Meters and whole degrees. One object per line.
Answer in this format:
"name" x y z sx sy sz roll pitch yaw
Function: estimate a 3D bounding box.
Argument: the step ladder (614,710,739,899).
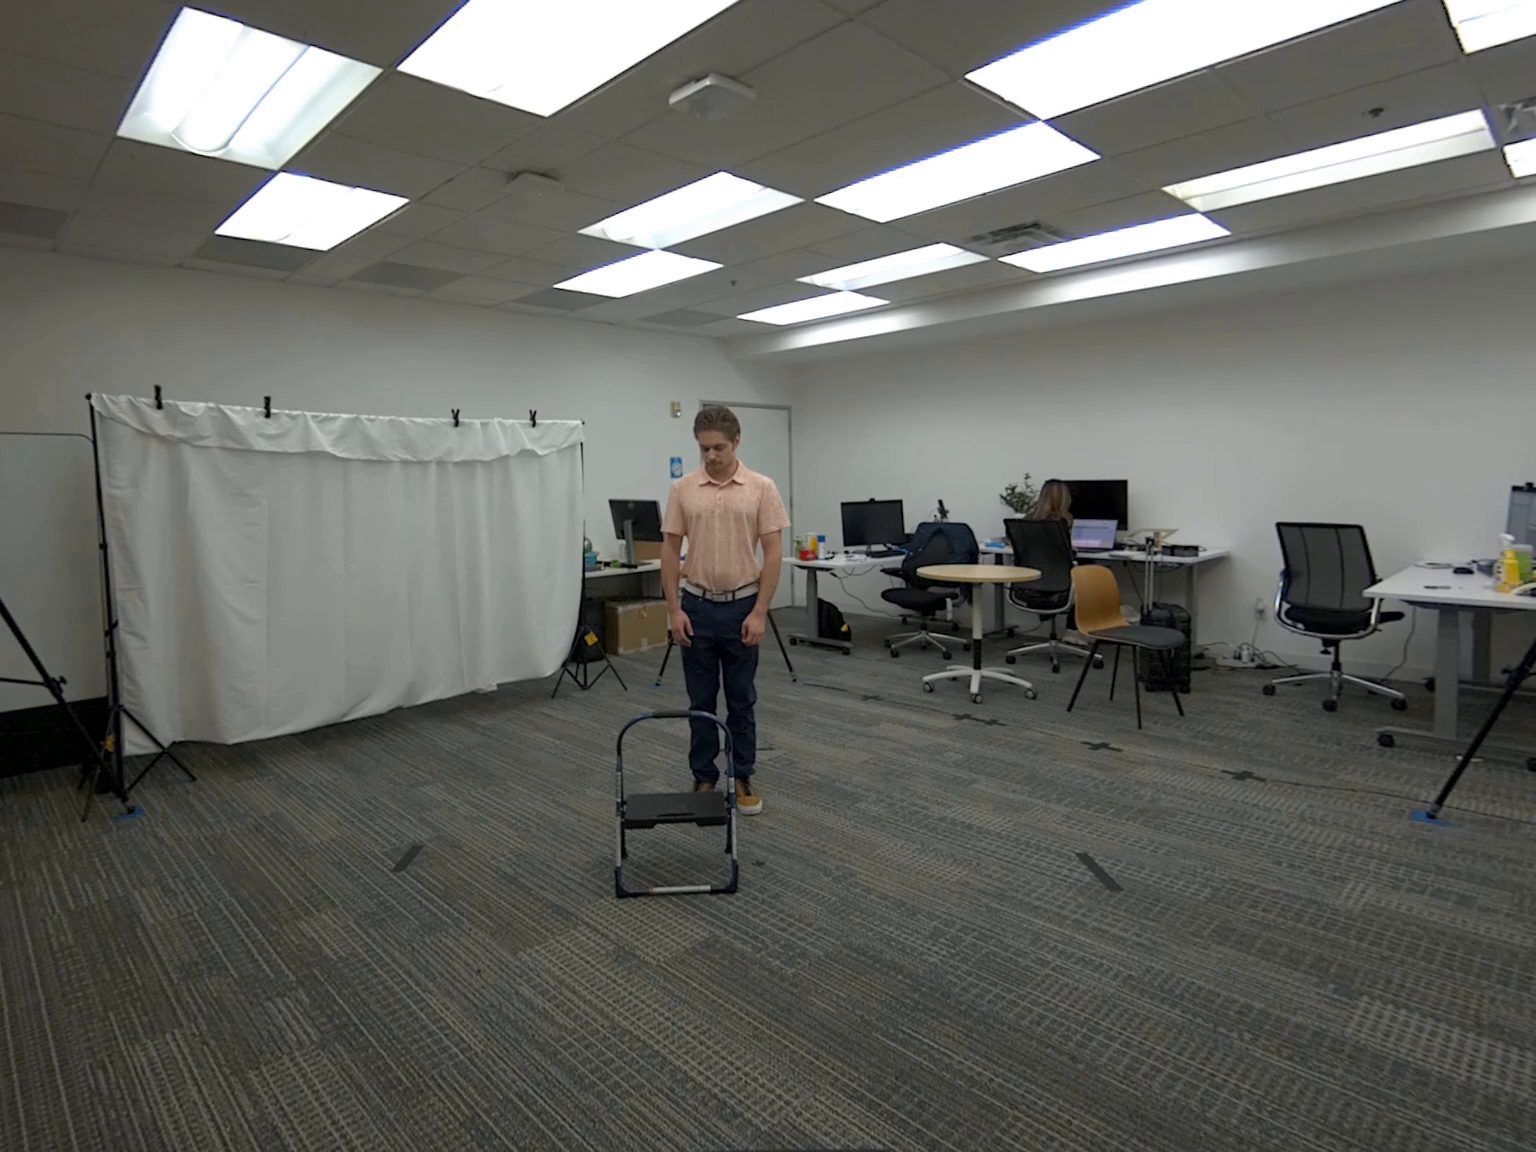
"step ladder" -0.334 0.761 3.023 0.429 0.603 0.352 -2 5 -5
